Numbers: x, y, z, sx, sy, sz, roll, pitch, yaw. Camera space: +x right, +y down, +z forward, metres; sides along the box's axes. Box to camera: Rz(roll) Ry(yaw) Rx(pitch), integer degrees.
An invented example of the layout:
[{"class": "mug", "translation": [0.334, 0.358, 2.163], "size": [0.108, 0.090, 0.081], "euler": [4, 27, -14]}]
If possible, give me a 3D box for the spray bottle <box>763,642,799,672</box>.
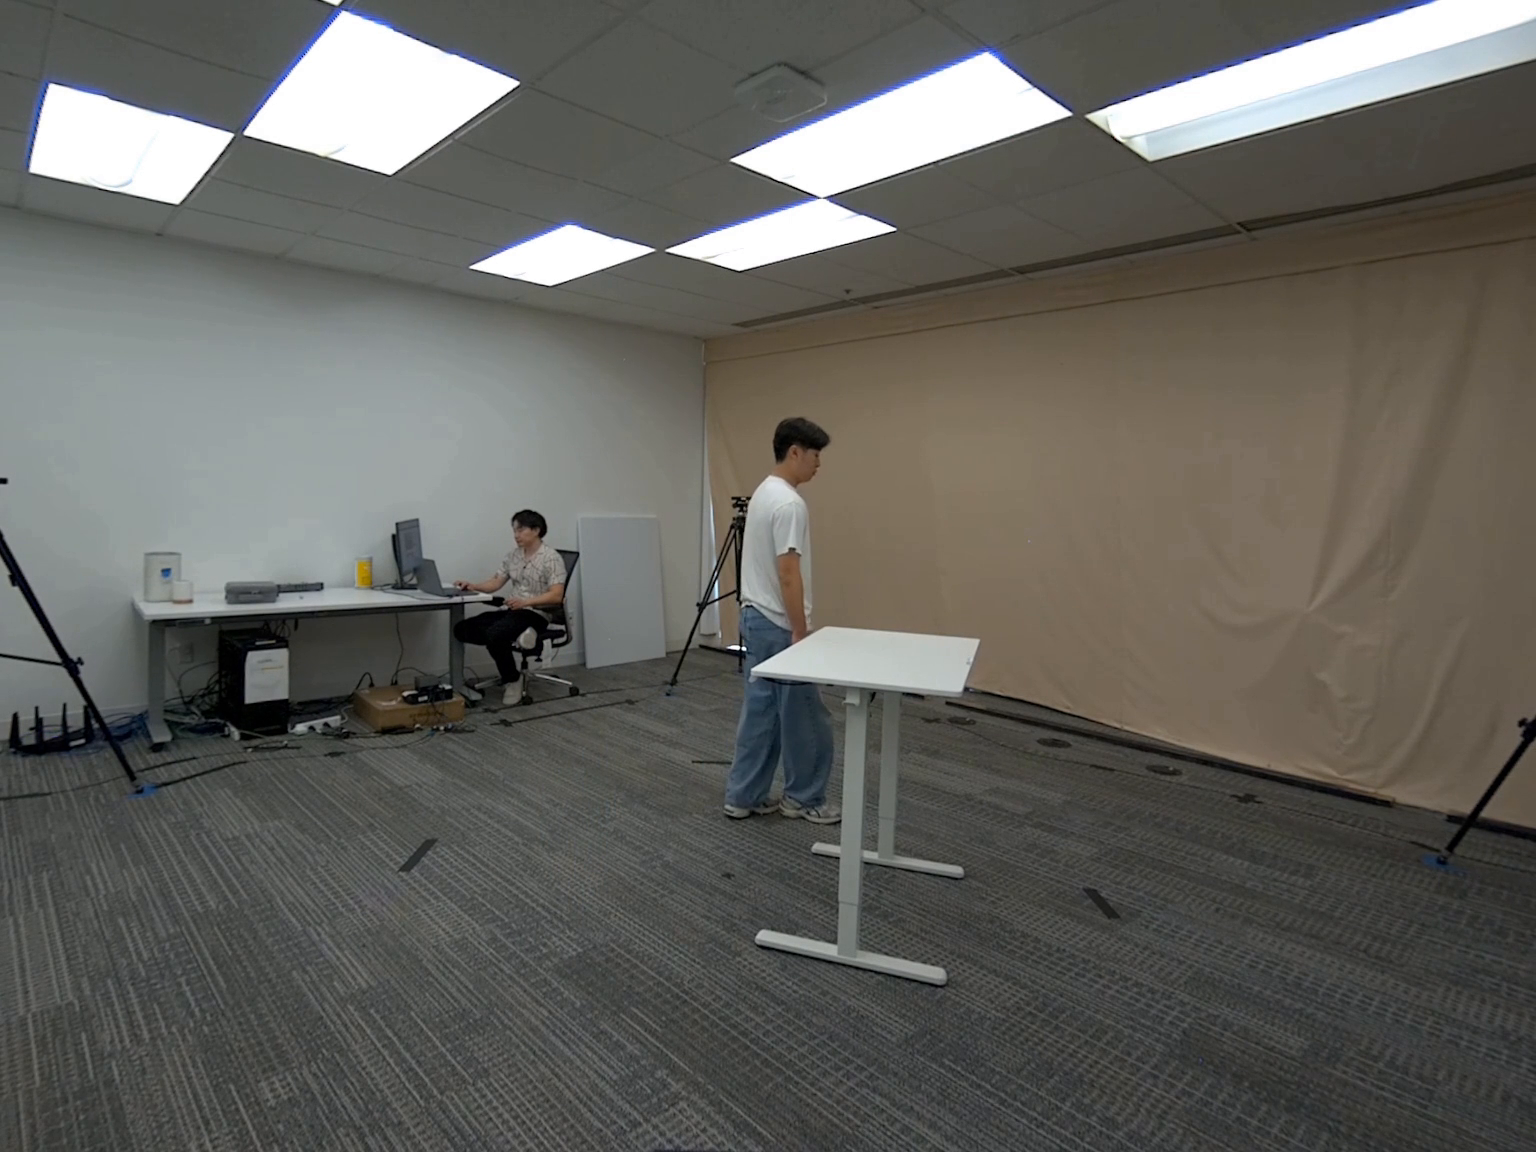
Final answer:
[{"class": "spray bottle", "translation": [0.081, 0.297, 4.003], "size": [0.087, 0.296, 0.090], "euler": [9, 15, -43]}]
